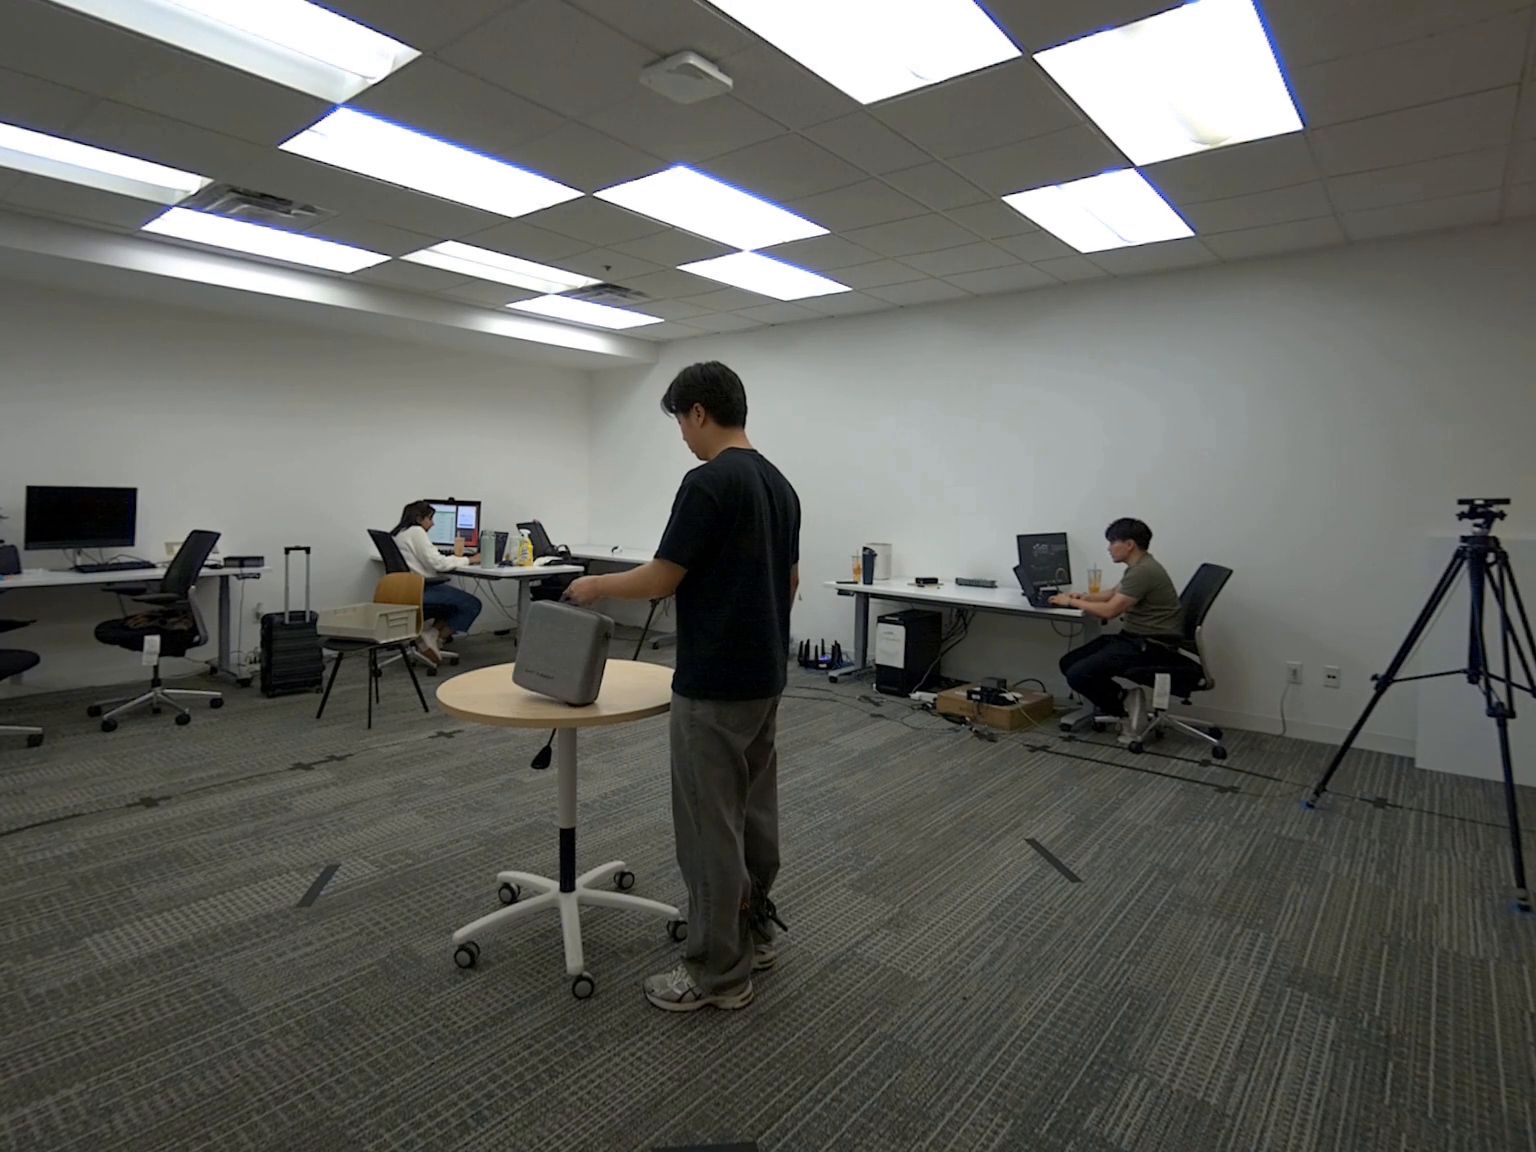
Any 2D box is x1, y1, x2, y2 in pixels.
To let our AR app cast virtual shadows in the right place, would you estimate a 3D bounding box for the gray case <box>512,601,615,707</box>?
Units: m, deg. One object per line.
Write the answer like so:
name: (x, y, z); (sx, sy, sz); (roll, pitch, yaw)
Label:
gray case: (-0.583, 0.196, 2.425); (0.270, 0.288, 0.100); (11, -5, 24)
